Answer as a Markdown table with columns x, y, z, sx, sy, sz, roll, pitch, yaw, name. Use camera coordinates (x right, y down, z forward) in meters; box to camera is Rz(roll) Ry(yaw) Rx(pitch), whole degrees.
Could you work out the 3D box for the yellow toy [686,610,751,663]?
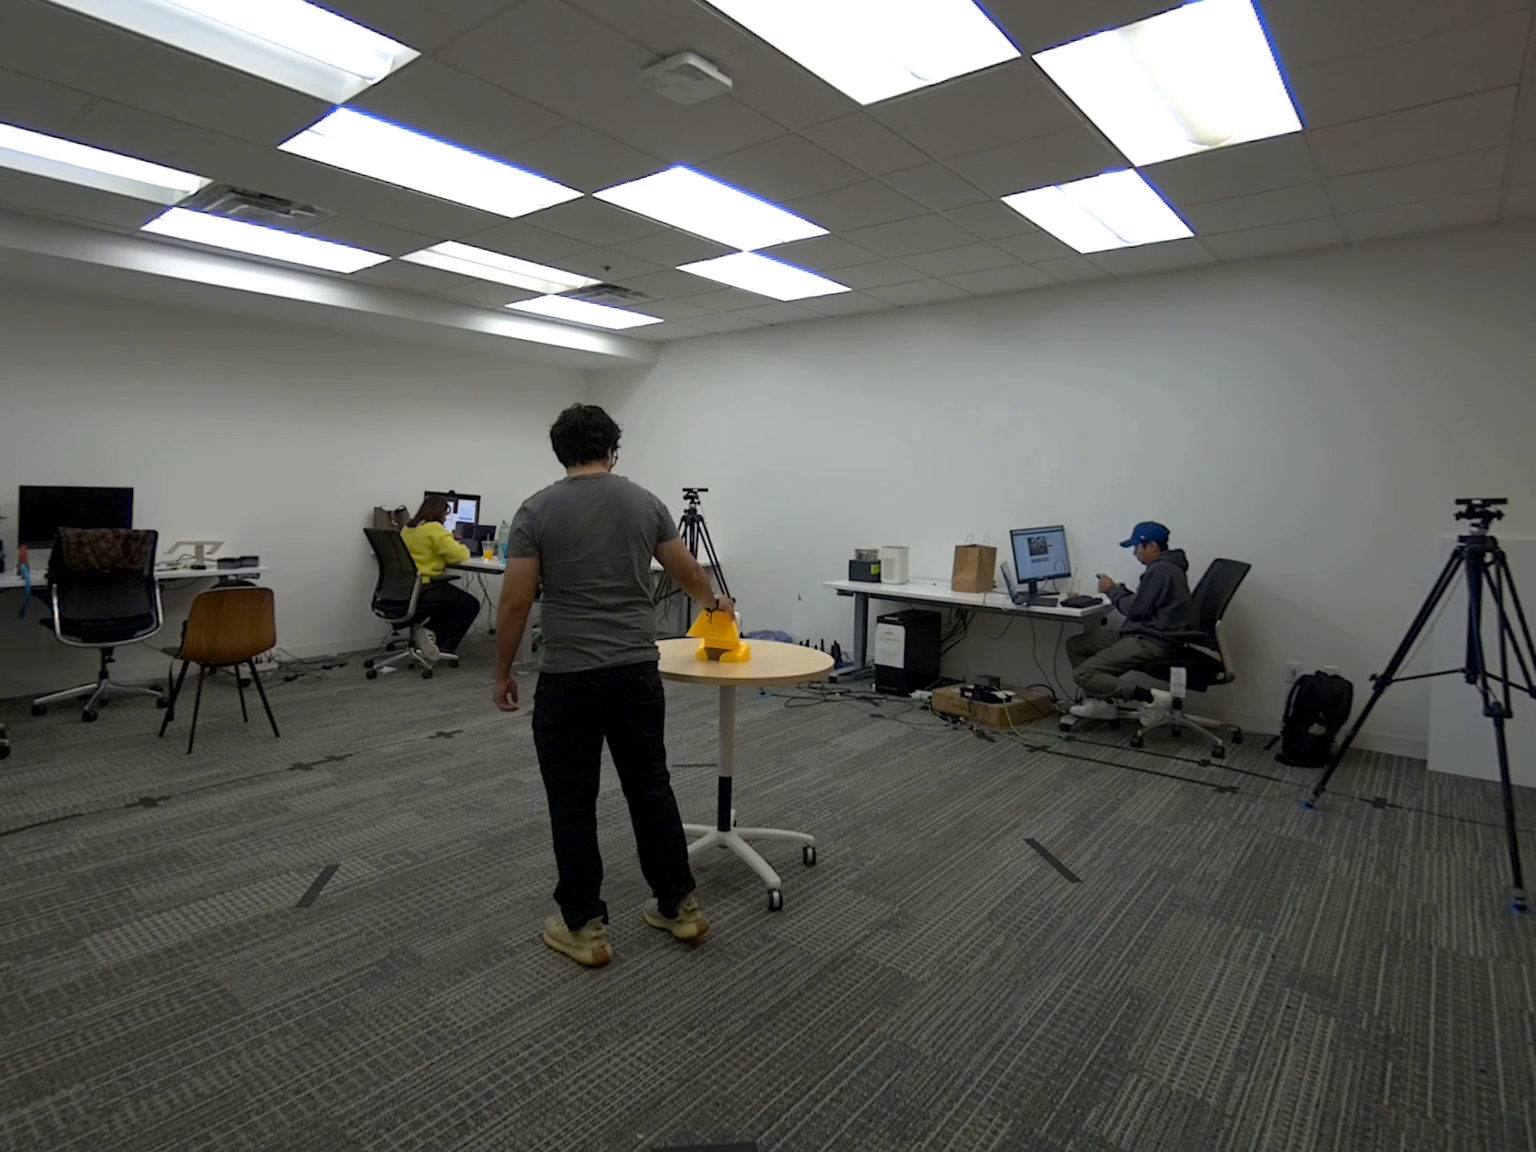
| x | y | z | sx | sy | sz | roll | pitch | yaw | name |
| --- | --- | --- | --- | --- | --- | --- | --- | --- | --- |
| -0.171 | 0.177 | 3.062 | 0.210 | 0.230 | 0.188 | 3 | 4 | 25 | yellow toy |
